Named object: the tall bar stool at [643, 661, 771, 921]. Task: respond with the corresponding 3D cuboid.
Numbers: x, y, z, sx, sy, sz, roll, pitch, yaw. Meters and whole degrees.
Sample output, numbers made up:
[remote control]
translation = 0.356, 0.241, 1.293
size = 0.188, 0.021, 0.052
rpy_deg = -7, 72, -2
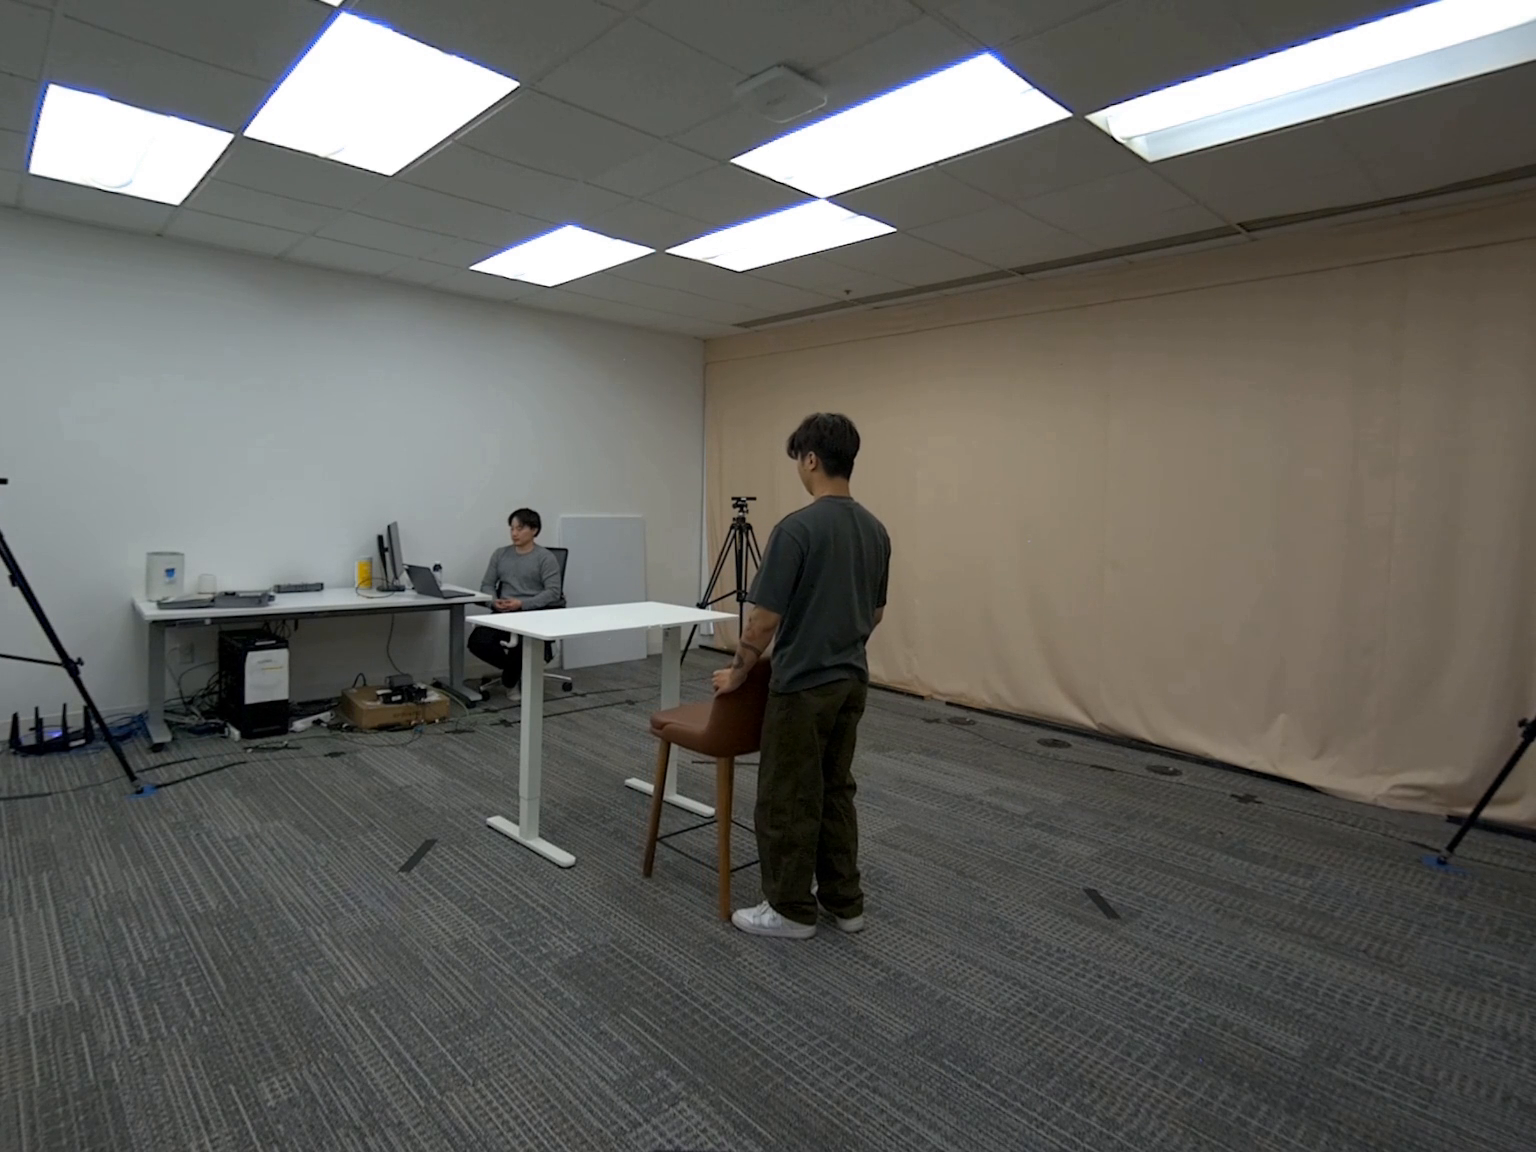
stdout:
[tall bar stool]
translation = -0.151, 0.678, 3.020
size = 0.446, 0.886, 0.480
rpy_deg = -2, 7, -42
